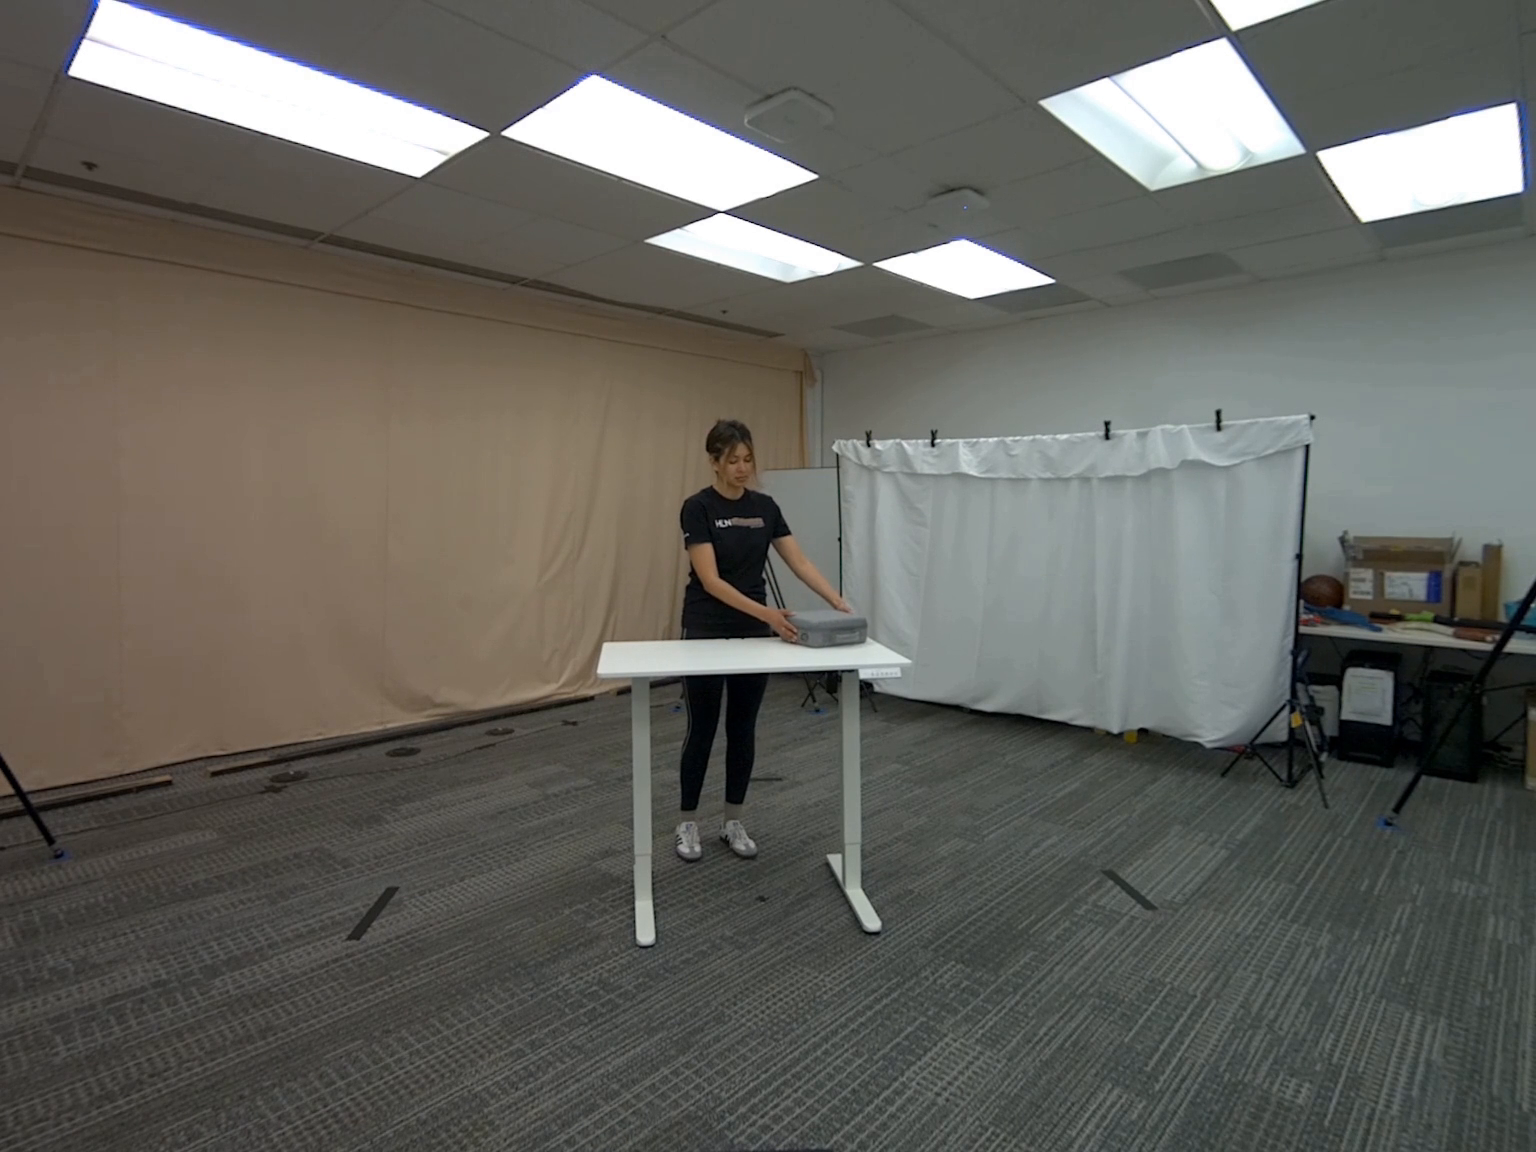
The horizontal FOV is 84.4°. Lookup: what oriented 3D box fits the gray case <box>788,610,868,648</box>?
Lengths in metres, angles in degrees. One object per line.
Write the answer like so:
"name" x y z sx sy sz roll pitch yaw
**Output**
"gray case" 0.207 0.196 3.124 0.250 0.104 0.268 -2 6 -28
